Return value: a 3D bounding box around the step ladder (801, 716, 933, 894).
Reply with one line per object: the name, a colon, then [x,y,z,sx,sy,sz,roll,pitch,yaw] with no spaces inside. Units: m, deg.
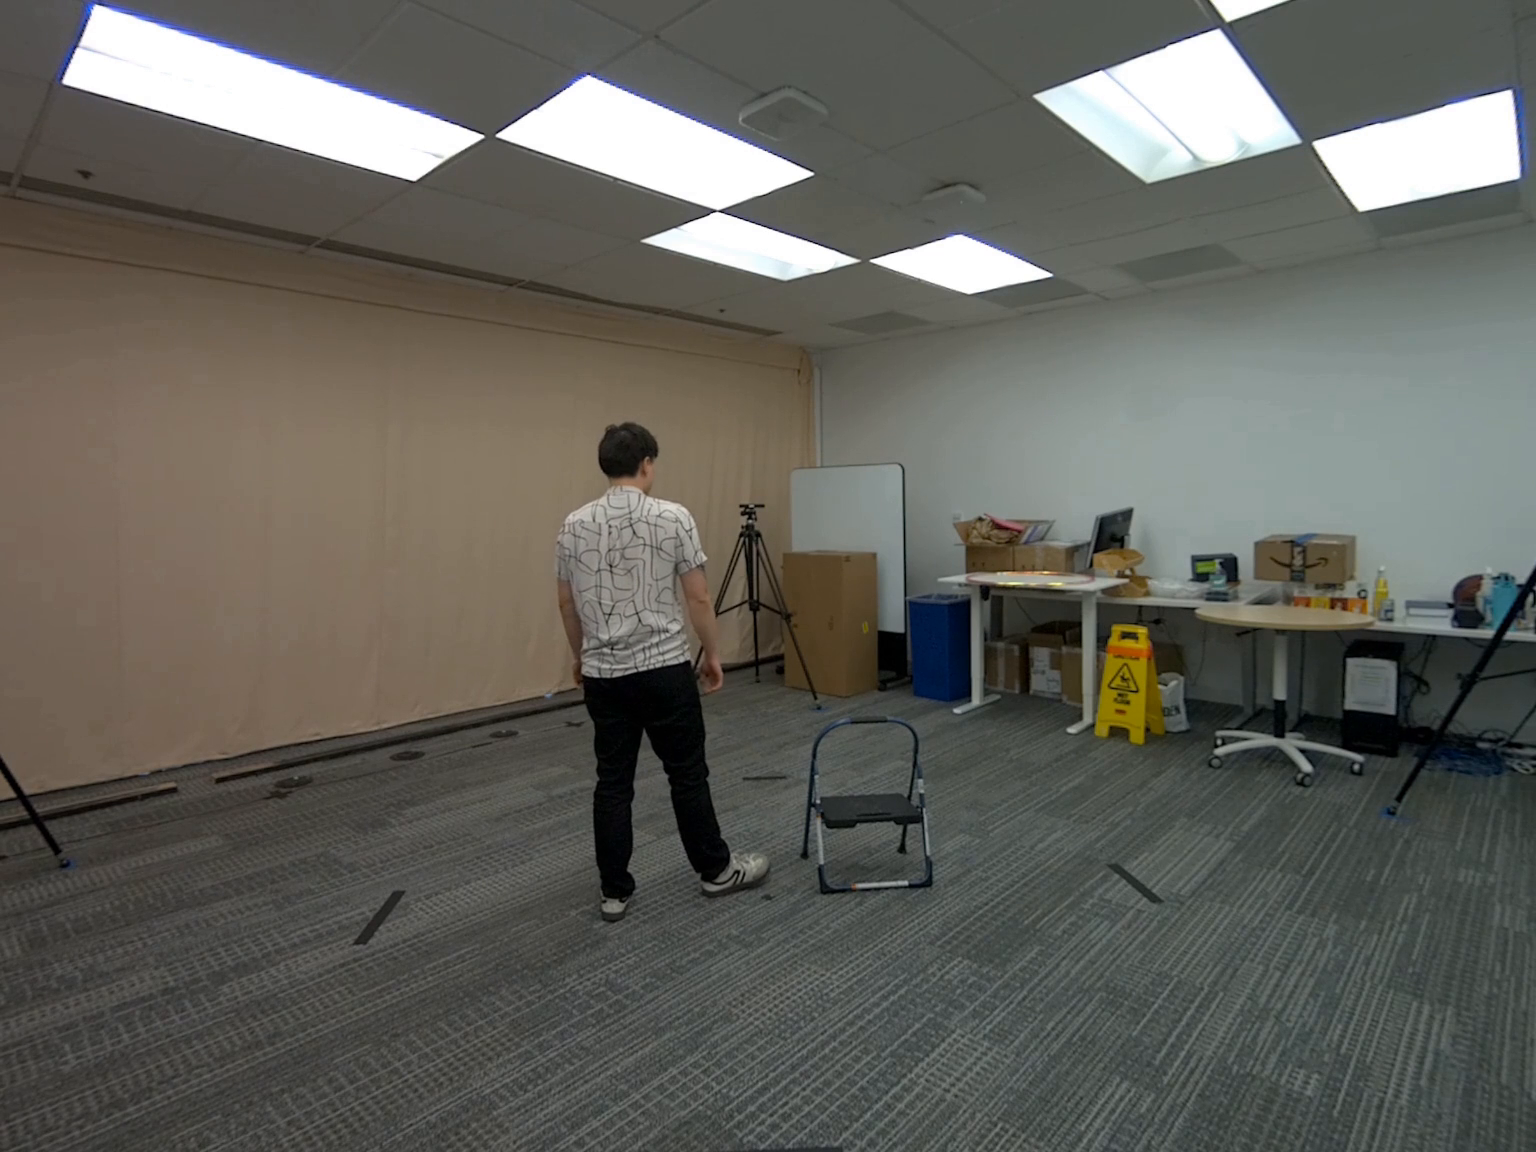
step ladder: [0.363,0.818,3.167,0.427,0.605,0.353,-1,3,-8]
